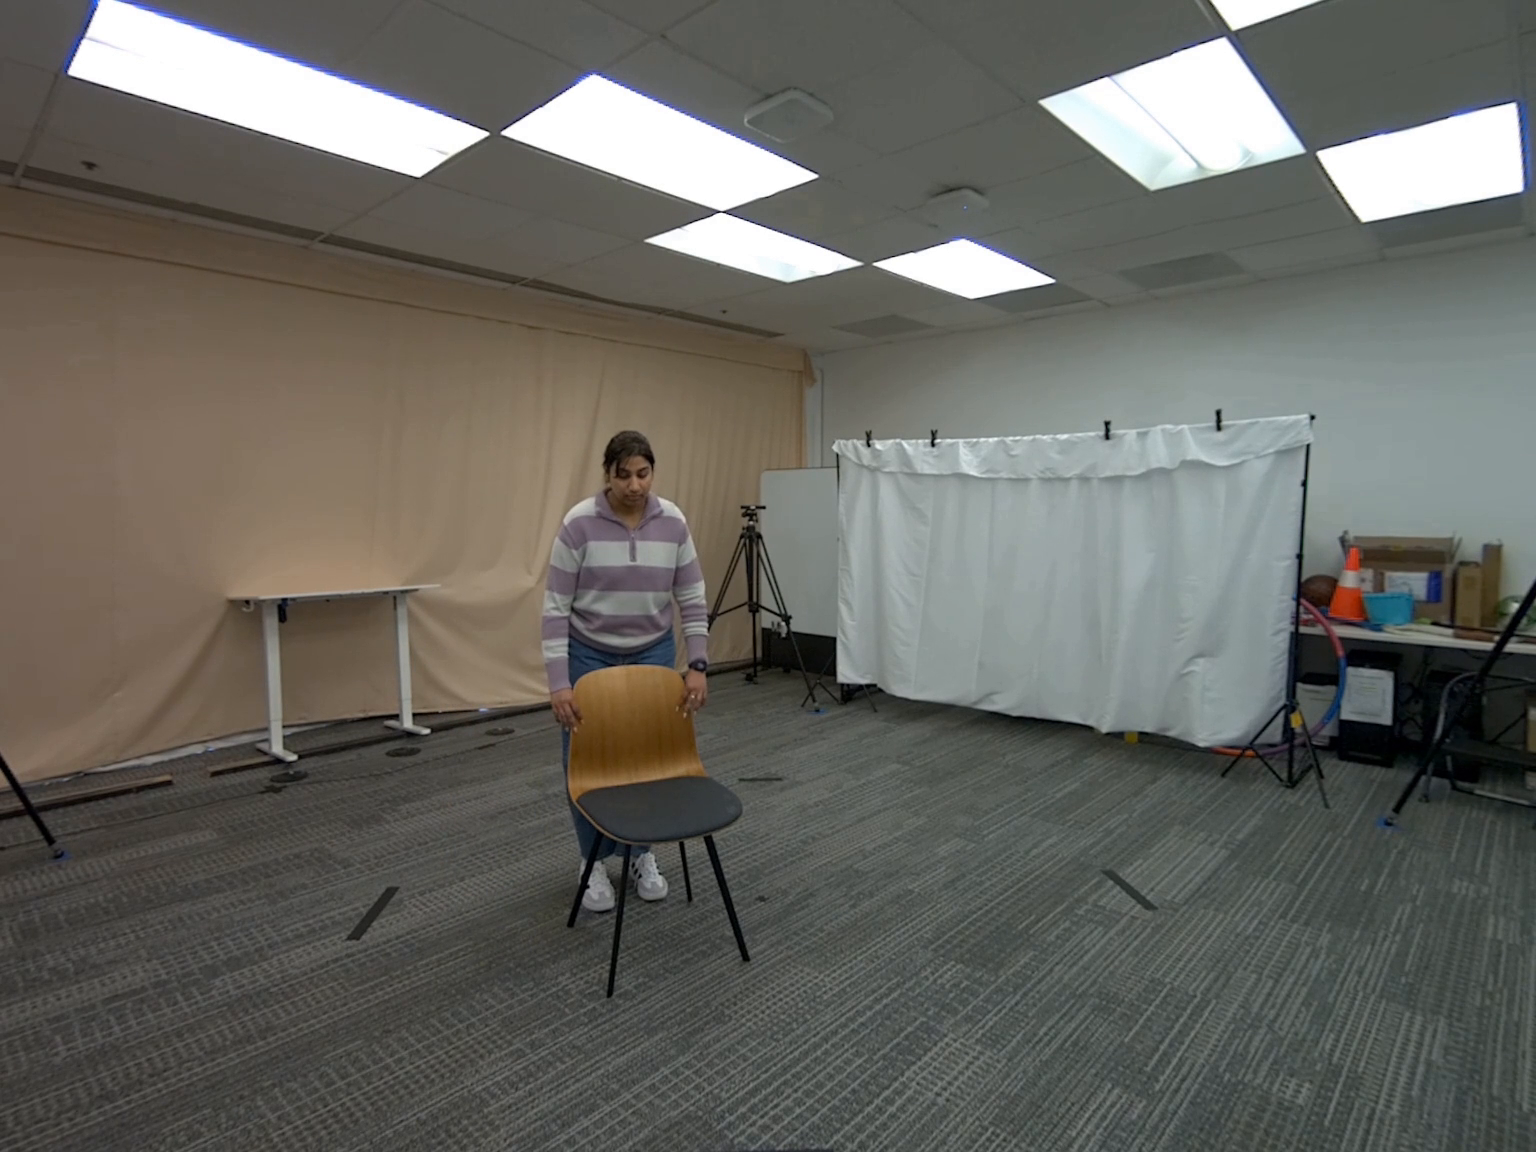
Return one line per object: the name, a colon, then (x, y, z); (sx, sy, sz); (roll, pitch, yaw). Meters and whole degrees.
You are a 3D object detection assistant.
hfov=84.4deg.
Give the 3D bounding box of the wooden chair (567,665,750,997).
wooden chair: (-0.353, 0.747, 2.642); (0.466, 0.878, 0.536); (-2, -1, -27)
